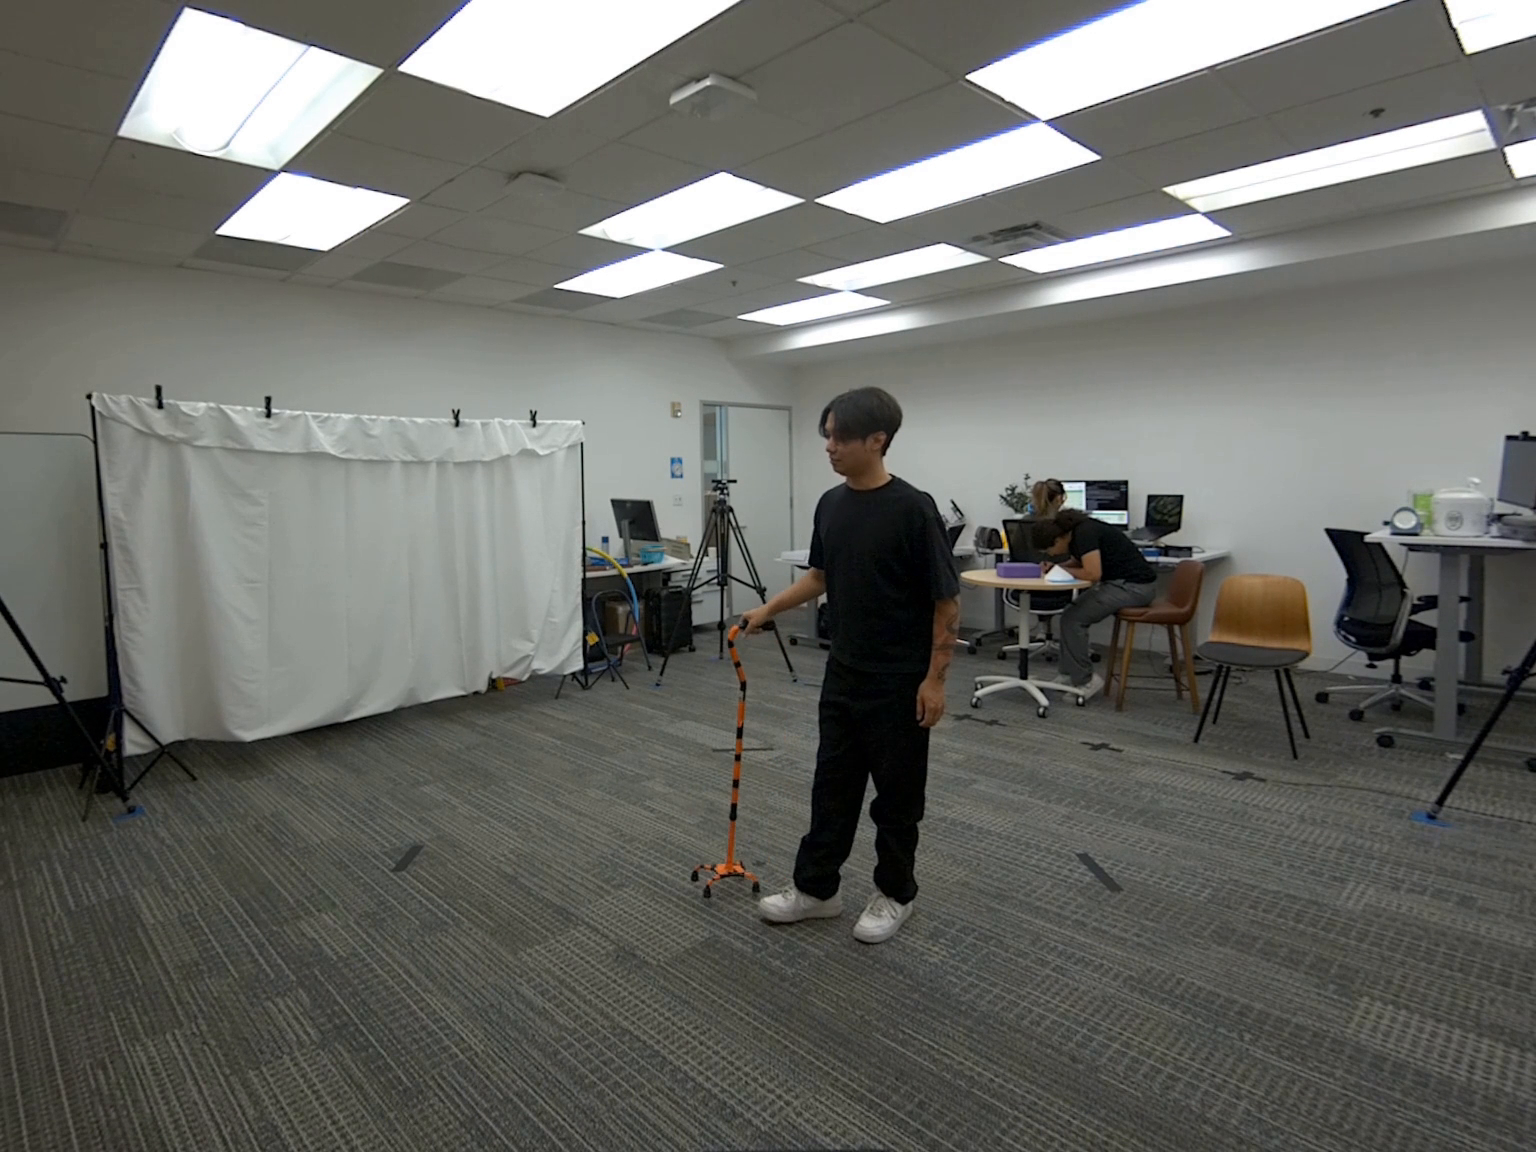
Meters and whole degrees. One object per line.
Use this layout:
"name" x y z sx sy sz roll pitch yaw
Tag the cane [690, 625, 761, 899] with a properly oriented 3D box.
"cane" -0.105 0.603 2.880 0.201 0.906 0.155 2 3 -27
